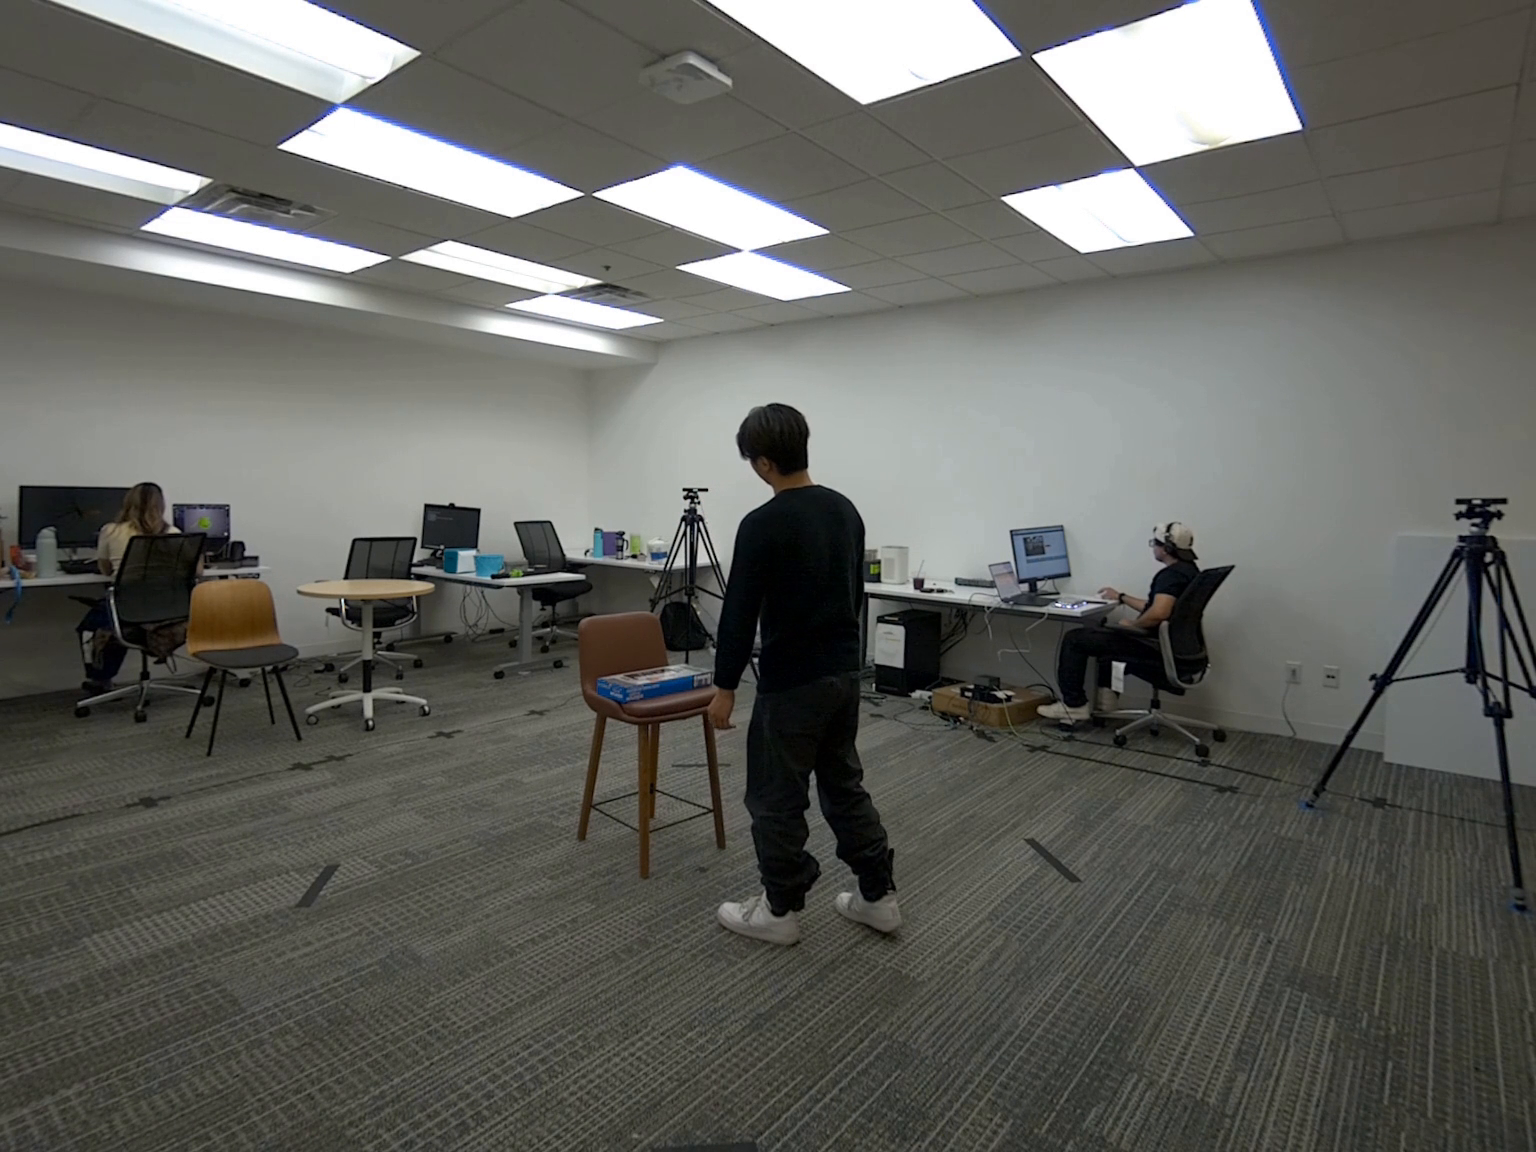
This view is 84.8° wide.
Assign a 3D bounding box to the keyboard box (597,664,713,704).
[{"bbox_3d":[-0.440,0.404,3.278,0.182,0.059,0.424,7,8,44],"label":"keyboard box"}]
